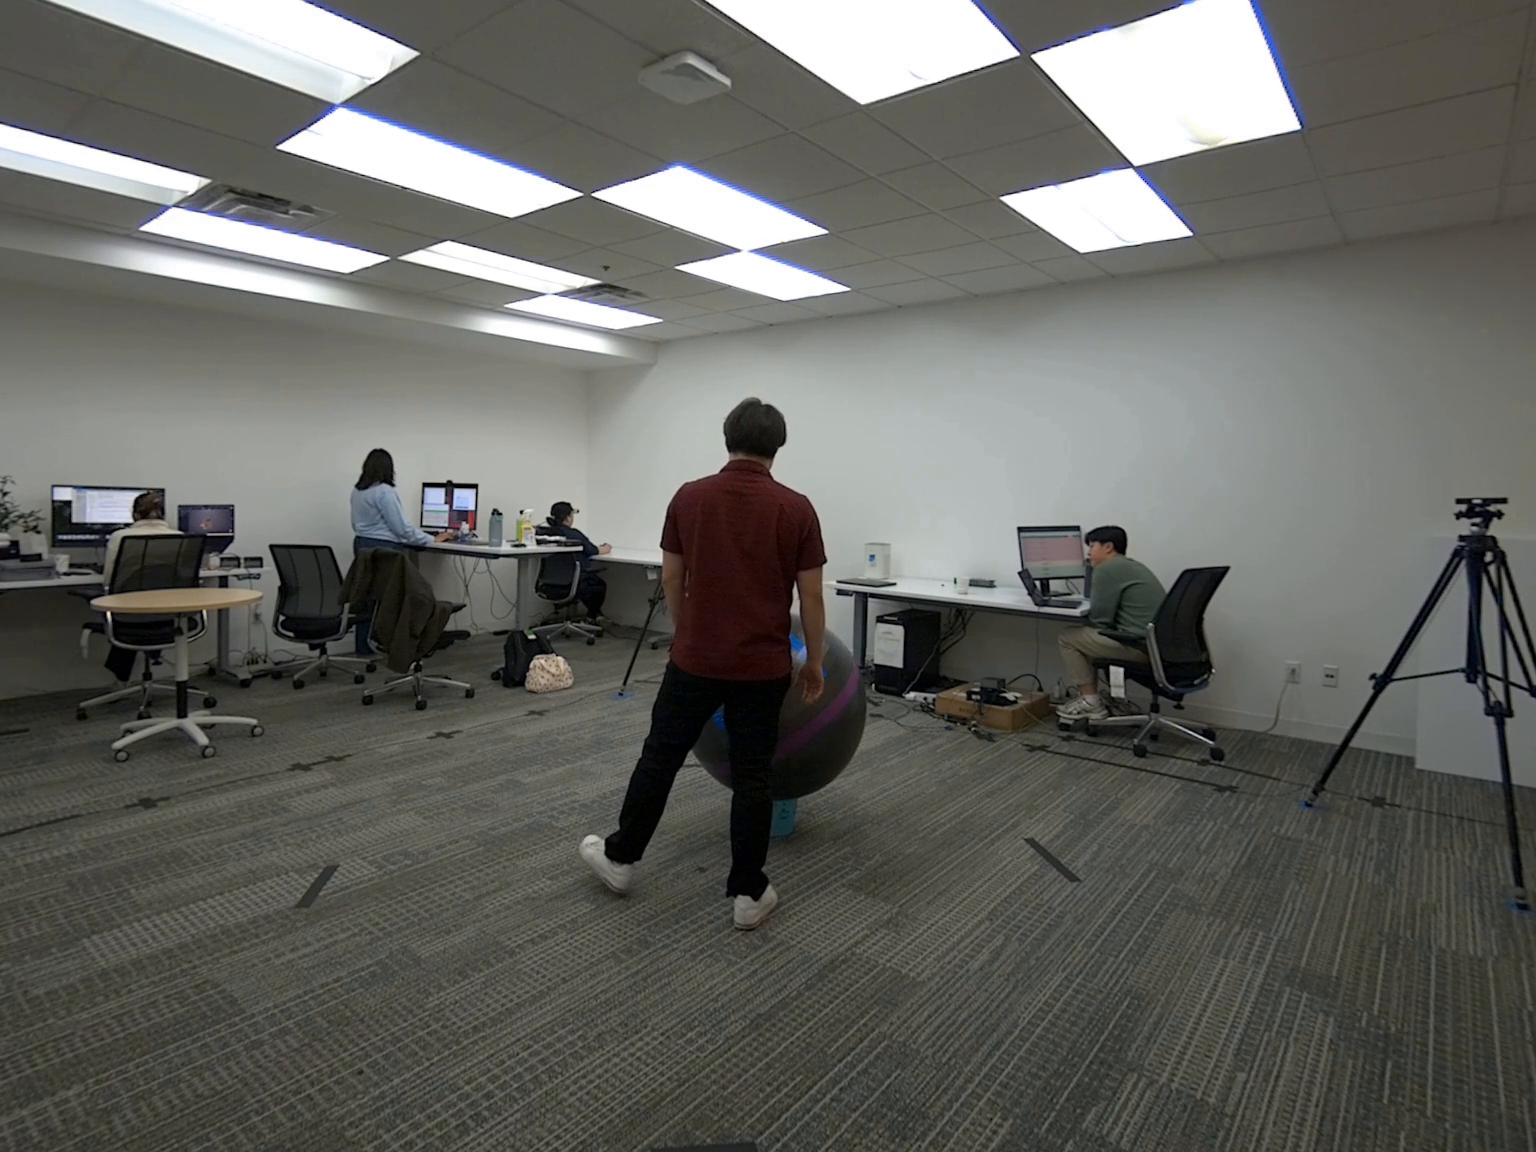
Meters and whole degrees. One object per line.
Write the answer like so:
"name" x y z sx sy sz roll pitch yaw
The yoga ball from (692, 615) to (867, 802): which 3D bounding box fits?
"yoga ball" 0.017 0.524 3.491 0.757 0.755 0.762 1 4 -2
